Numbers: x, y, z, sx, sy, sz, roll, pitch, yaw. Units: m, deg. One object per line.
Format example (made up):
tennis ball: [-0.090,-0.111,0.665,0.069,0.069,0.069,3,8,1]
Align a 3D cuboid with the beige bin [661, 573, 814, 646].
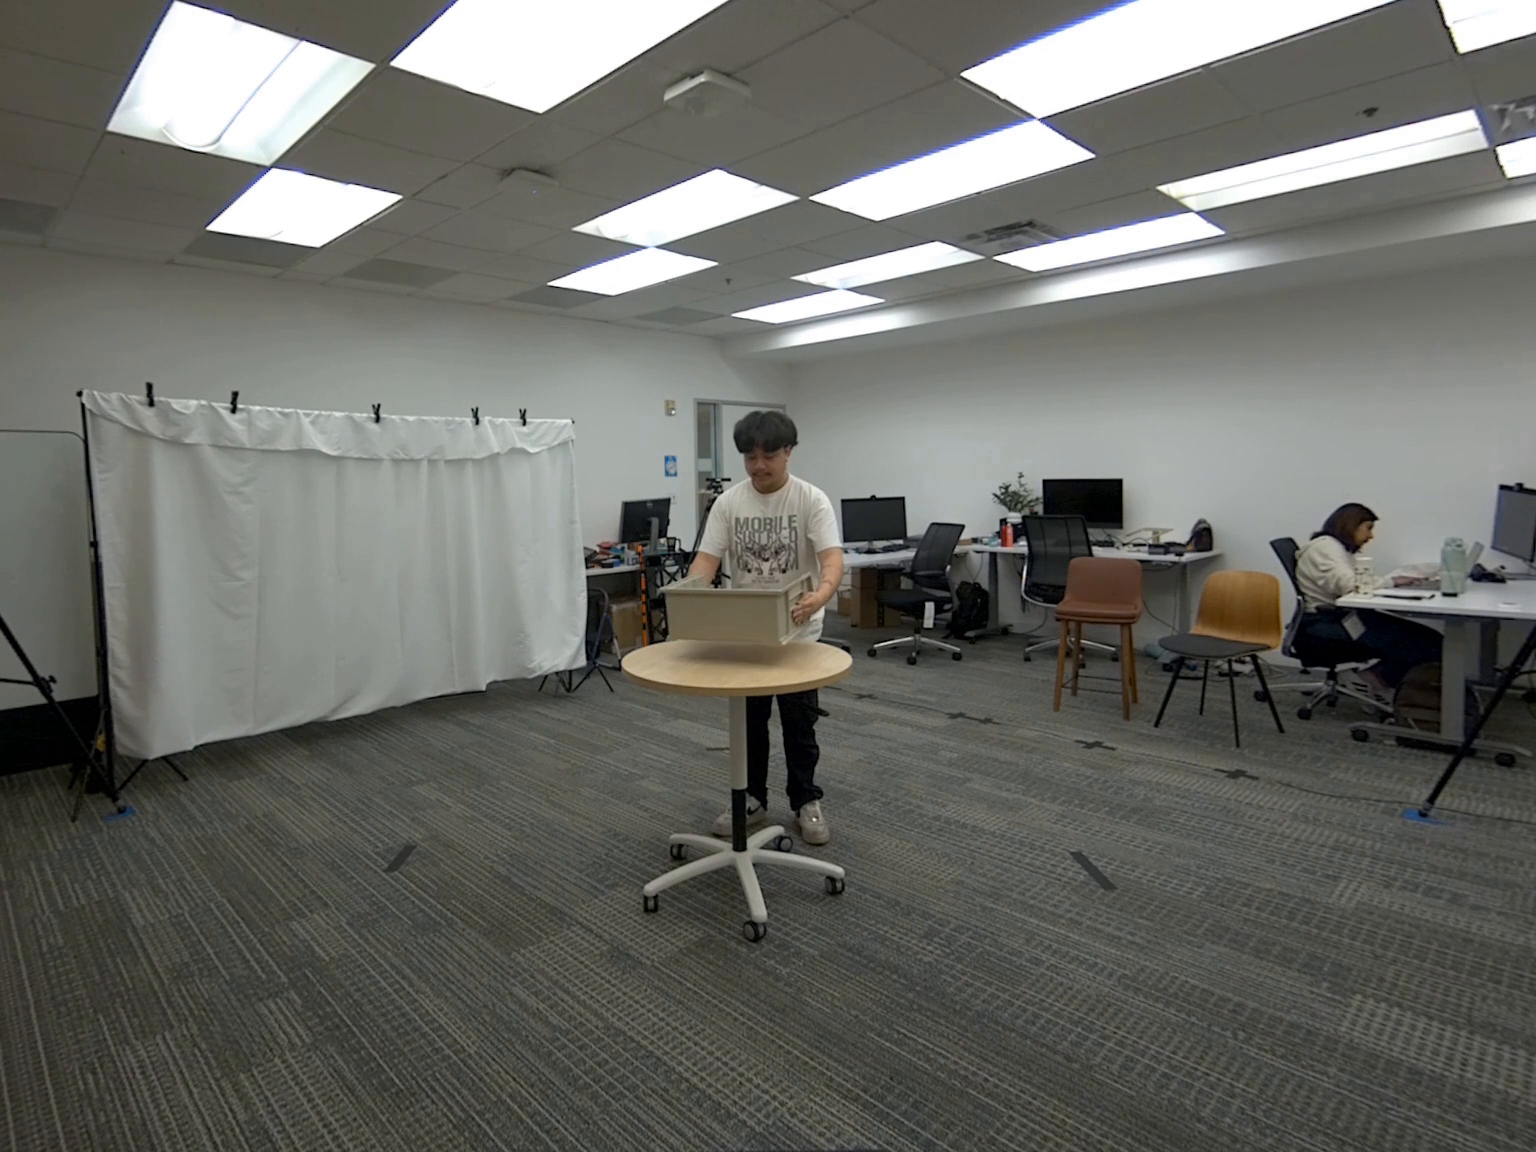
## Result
beige bin: [-0.102,0.103,2.897,0.431,0.187,0.373,0,10,21]
